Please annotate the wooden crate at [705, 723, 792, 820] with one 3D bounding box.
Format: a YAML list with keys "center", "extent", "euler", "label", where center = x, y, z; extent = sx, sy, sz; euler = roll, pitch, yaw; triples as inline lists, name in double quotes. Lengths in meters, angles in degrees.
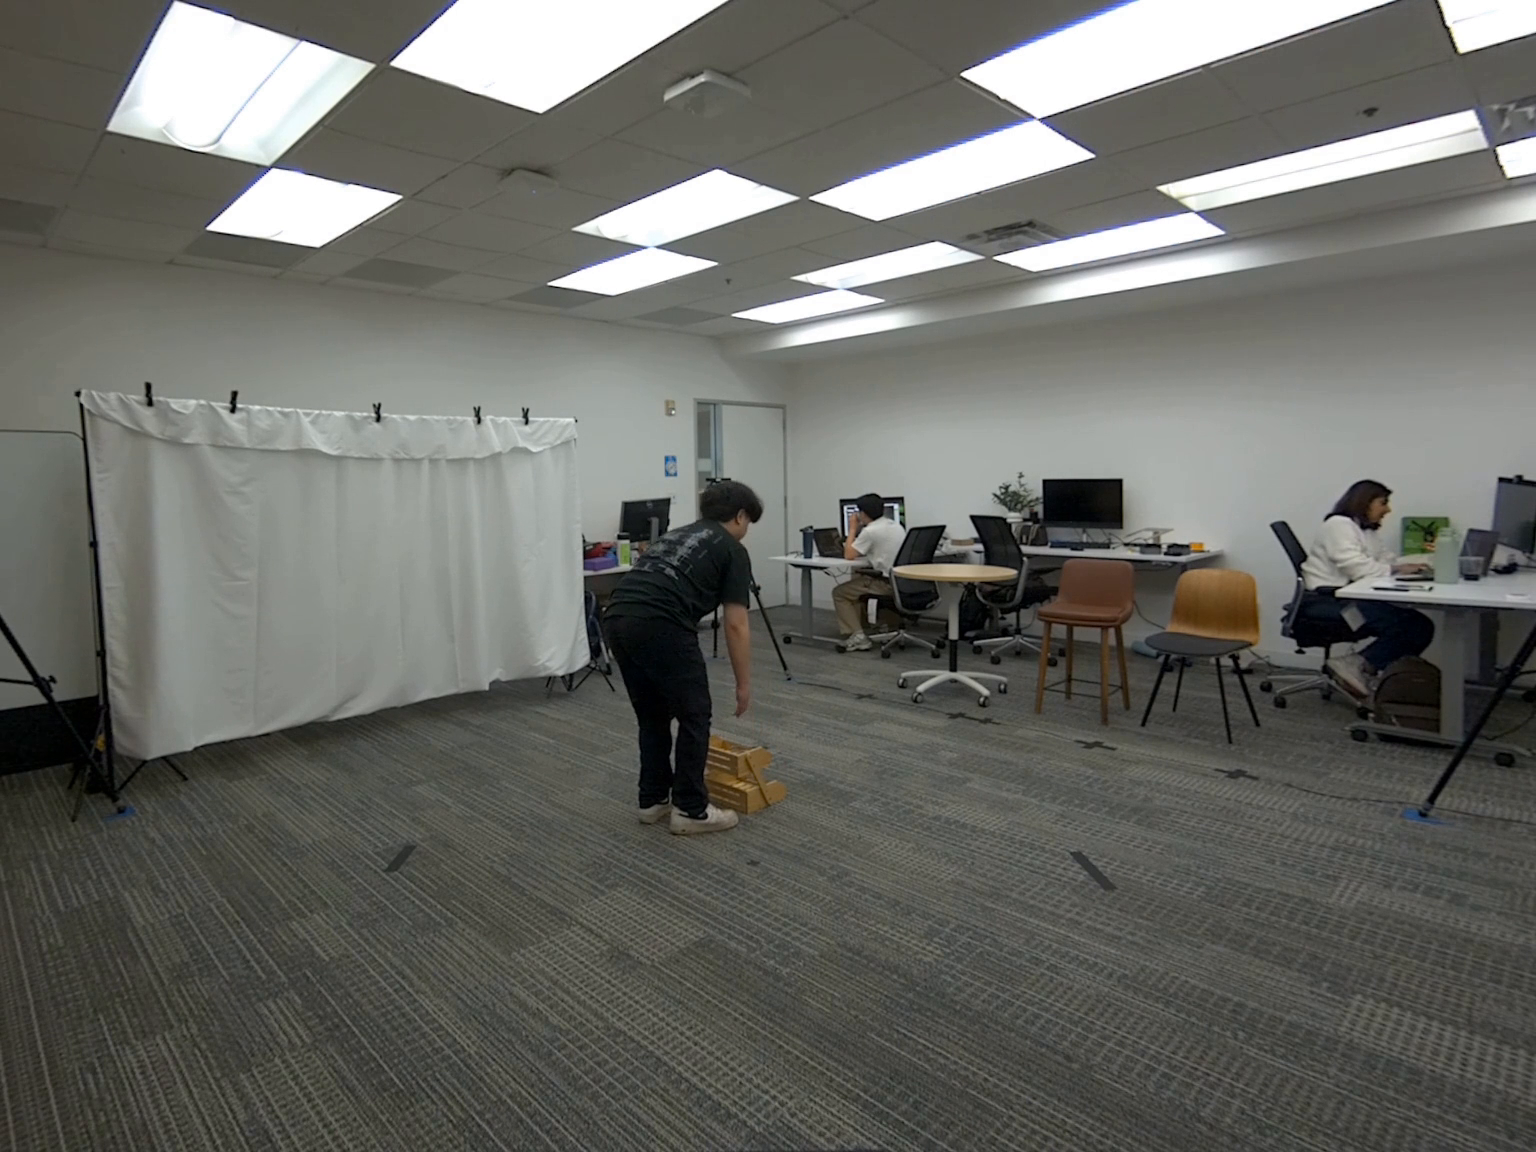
- center: [-0.125, 0.837, 3.730]
  extent: [0.334, 0.272, 0.294]
  euler: [3, 7, 43]
  label: "wooden crate"
